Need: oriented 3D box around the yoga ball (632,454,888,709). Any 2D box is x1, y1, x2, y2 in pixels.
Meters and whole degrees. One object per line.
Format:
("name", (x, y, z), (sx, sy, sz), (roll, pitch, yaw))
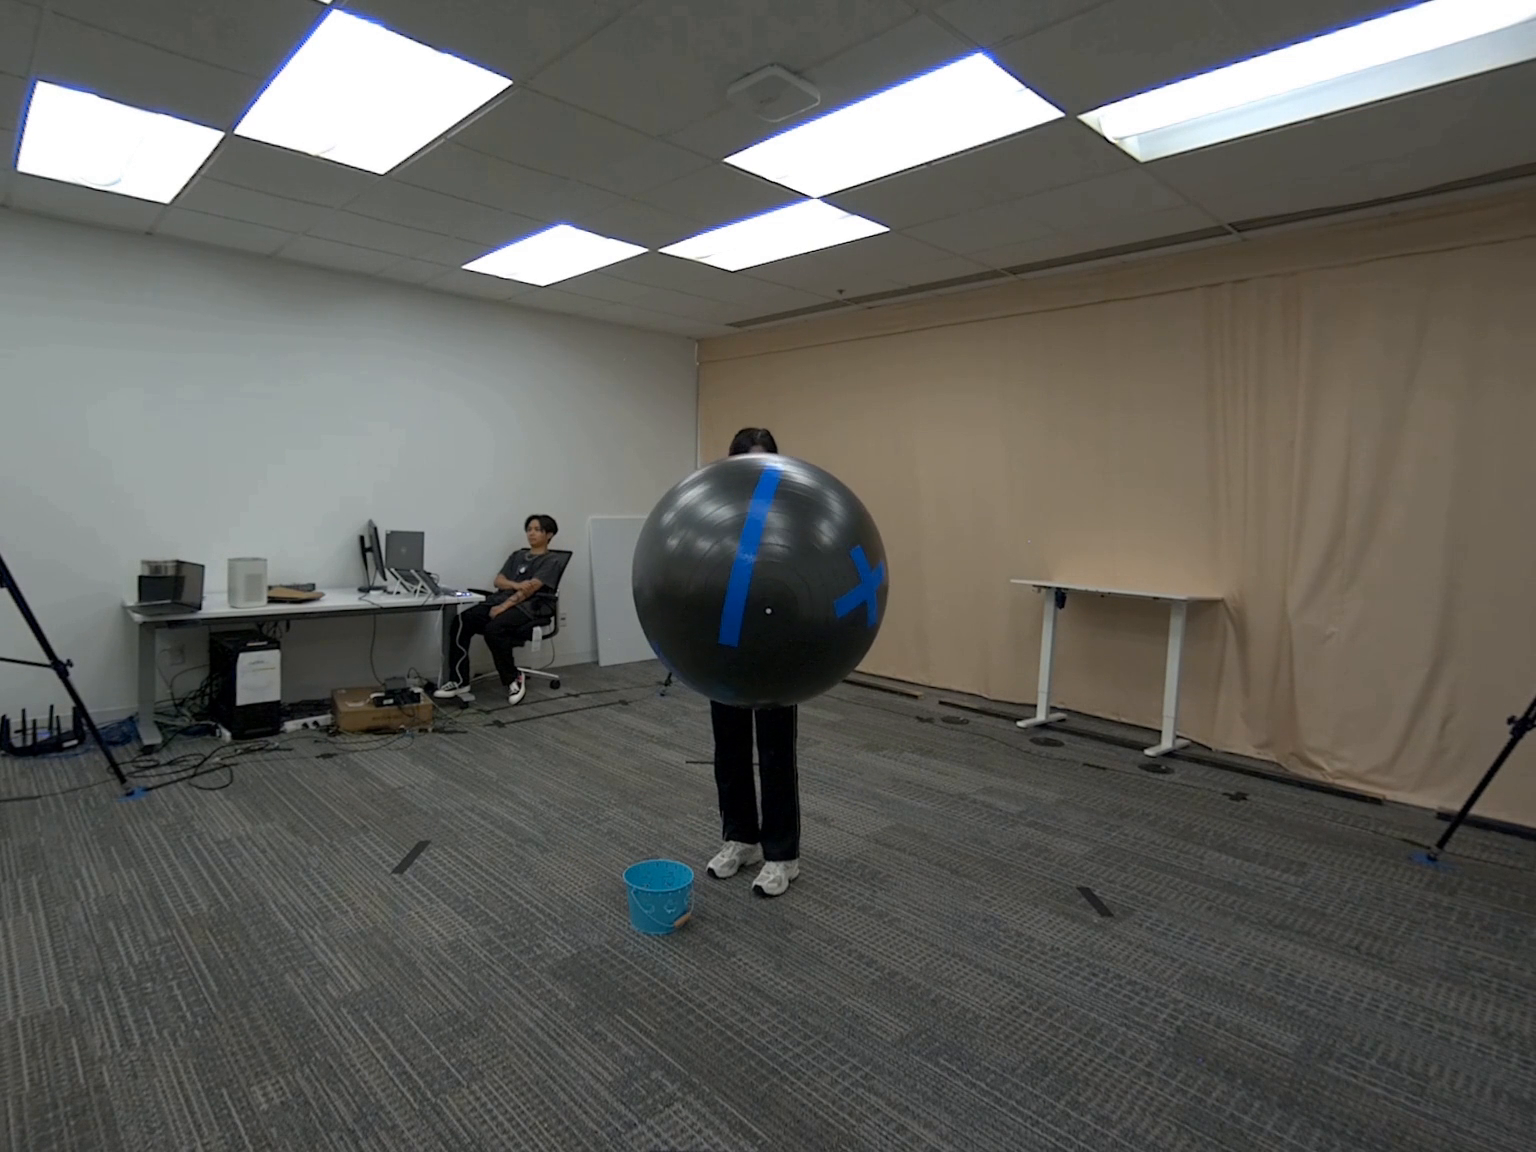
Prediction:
("yoga ball", (-0.024, 0.022, 2.499), (0.757, 0.756, 0.761), (1, 4, -1))
